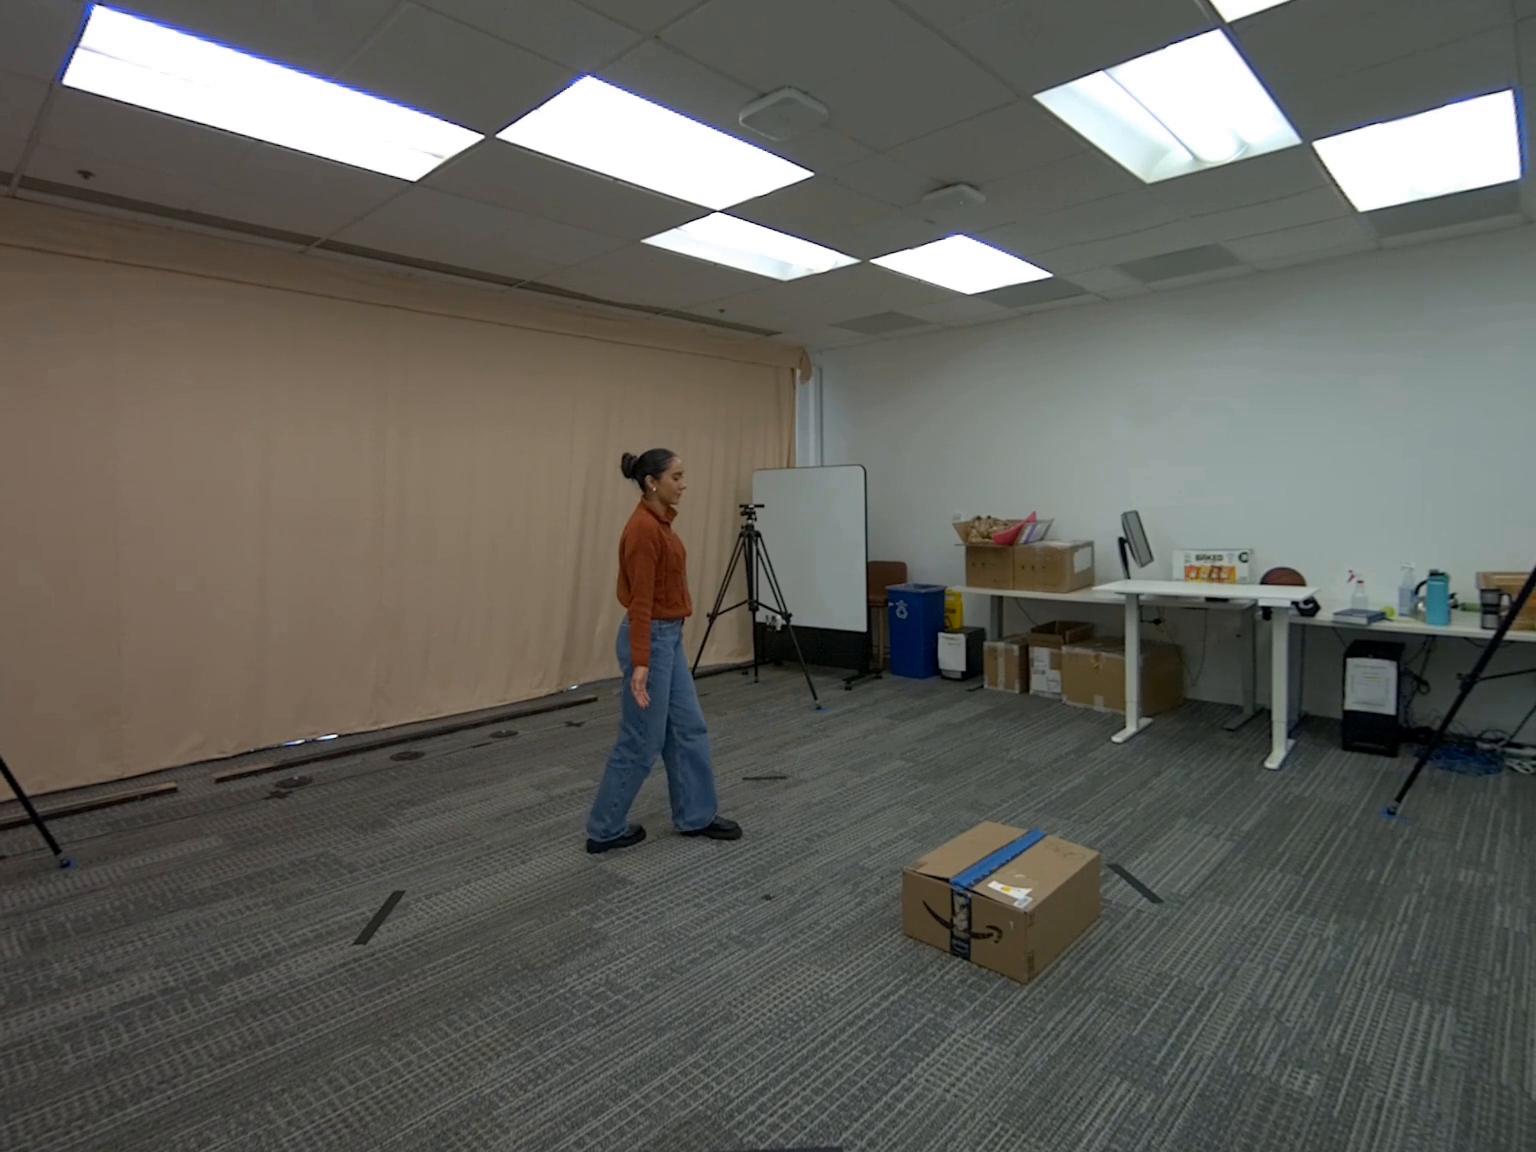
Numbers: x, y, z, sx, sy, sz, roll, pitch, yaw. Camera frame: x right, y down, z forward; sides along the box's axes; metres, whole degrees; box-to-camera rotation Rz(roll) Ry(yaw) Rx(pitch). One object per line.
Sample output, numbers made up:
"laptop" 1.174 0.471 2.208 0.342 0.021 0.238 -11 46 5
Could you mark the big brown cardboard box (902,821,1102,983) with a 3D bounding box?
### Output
"big brown cardboard box" 0.773 1.035 2.750 0.431 0.233 0.571 3 5 43
